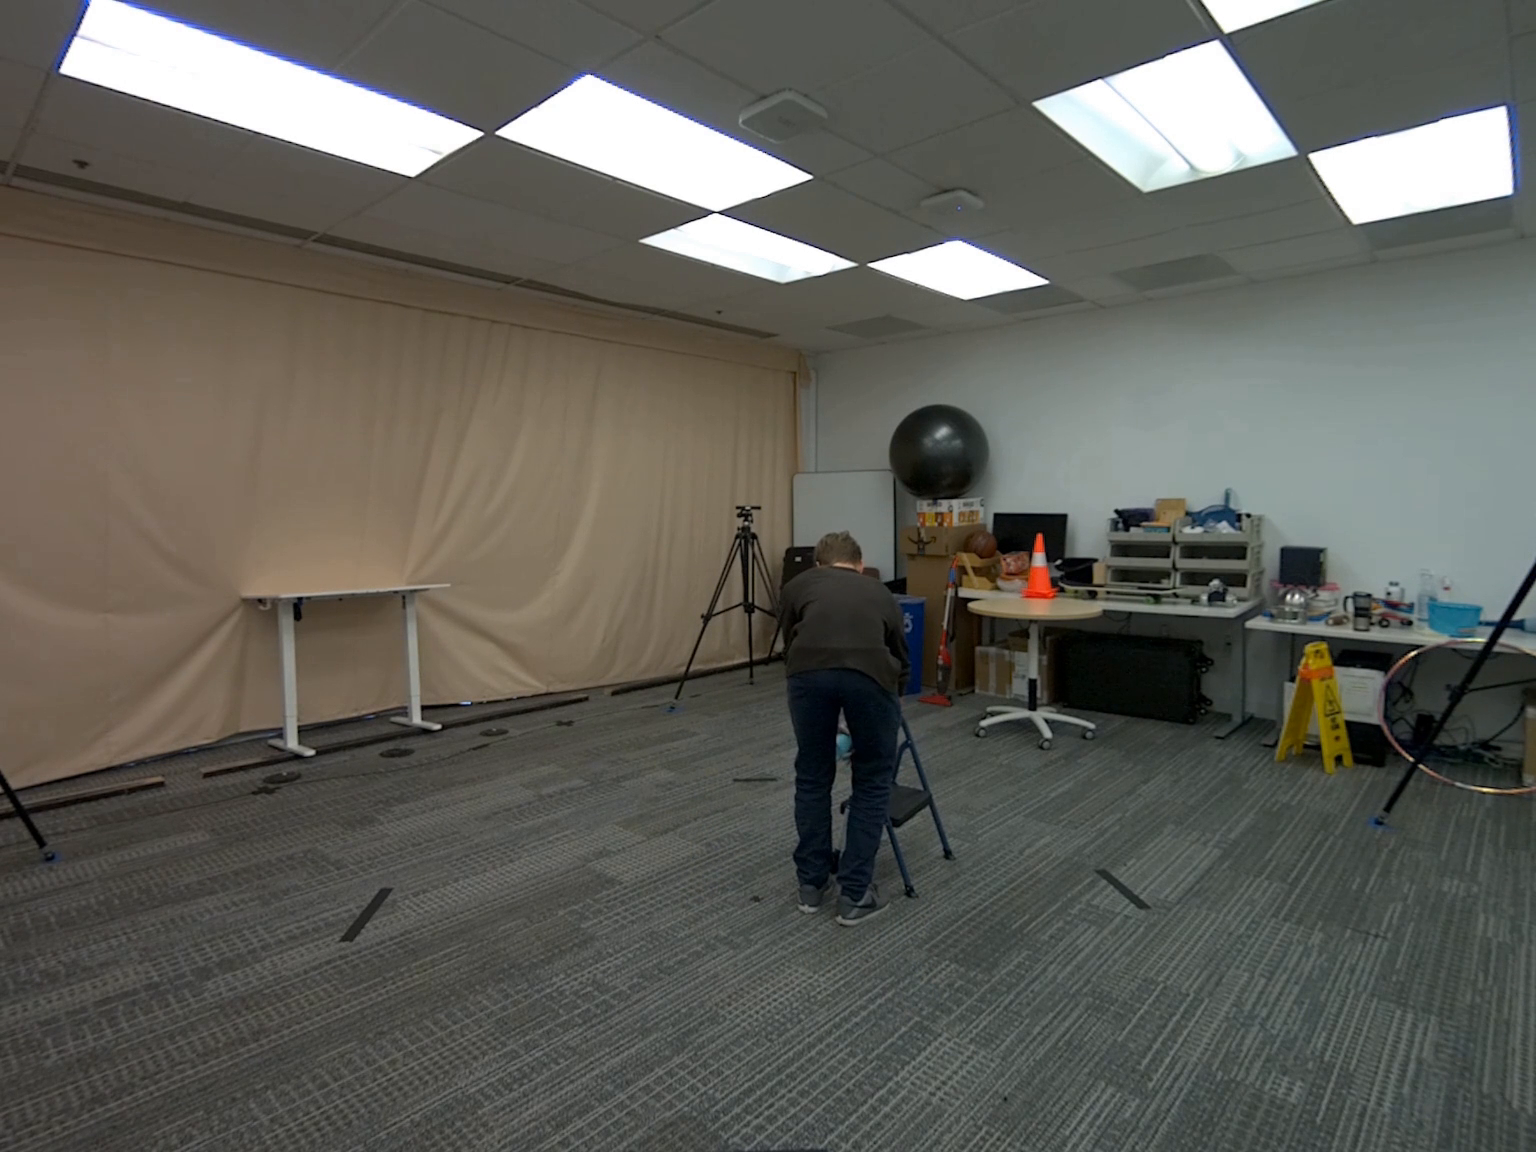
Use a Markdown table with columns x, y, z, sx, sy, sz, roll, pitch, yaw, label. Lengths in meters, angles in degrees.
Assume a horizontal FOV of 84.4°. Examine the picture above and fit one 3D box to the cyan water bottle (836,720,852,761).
| x | y | z | sx | sy | sz | roll | pitch | yaw | label |
| --- | --- | --- | --- | --- | --- | --- | --- | --- | --- |
| 0.307 | 0.643 | 3.348 | 0.095 | 0.092 | 0.278 | 2 | 11 | 25 | cyan water bottle |
